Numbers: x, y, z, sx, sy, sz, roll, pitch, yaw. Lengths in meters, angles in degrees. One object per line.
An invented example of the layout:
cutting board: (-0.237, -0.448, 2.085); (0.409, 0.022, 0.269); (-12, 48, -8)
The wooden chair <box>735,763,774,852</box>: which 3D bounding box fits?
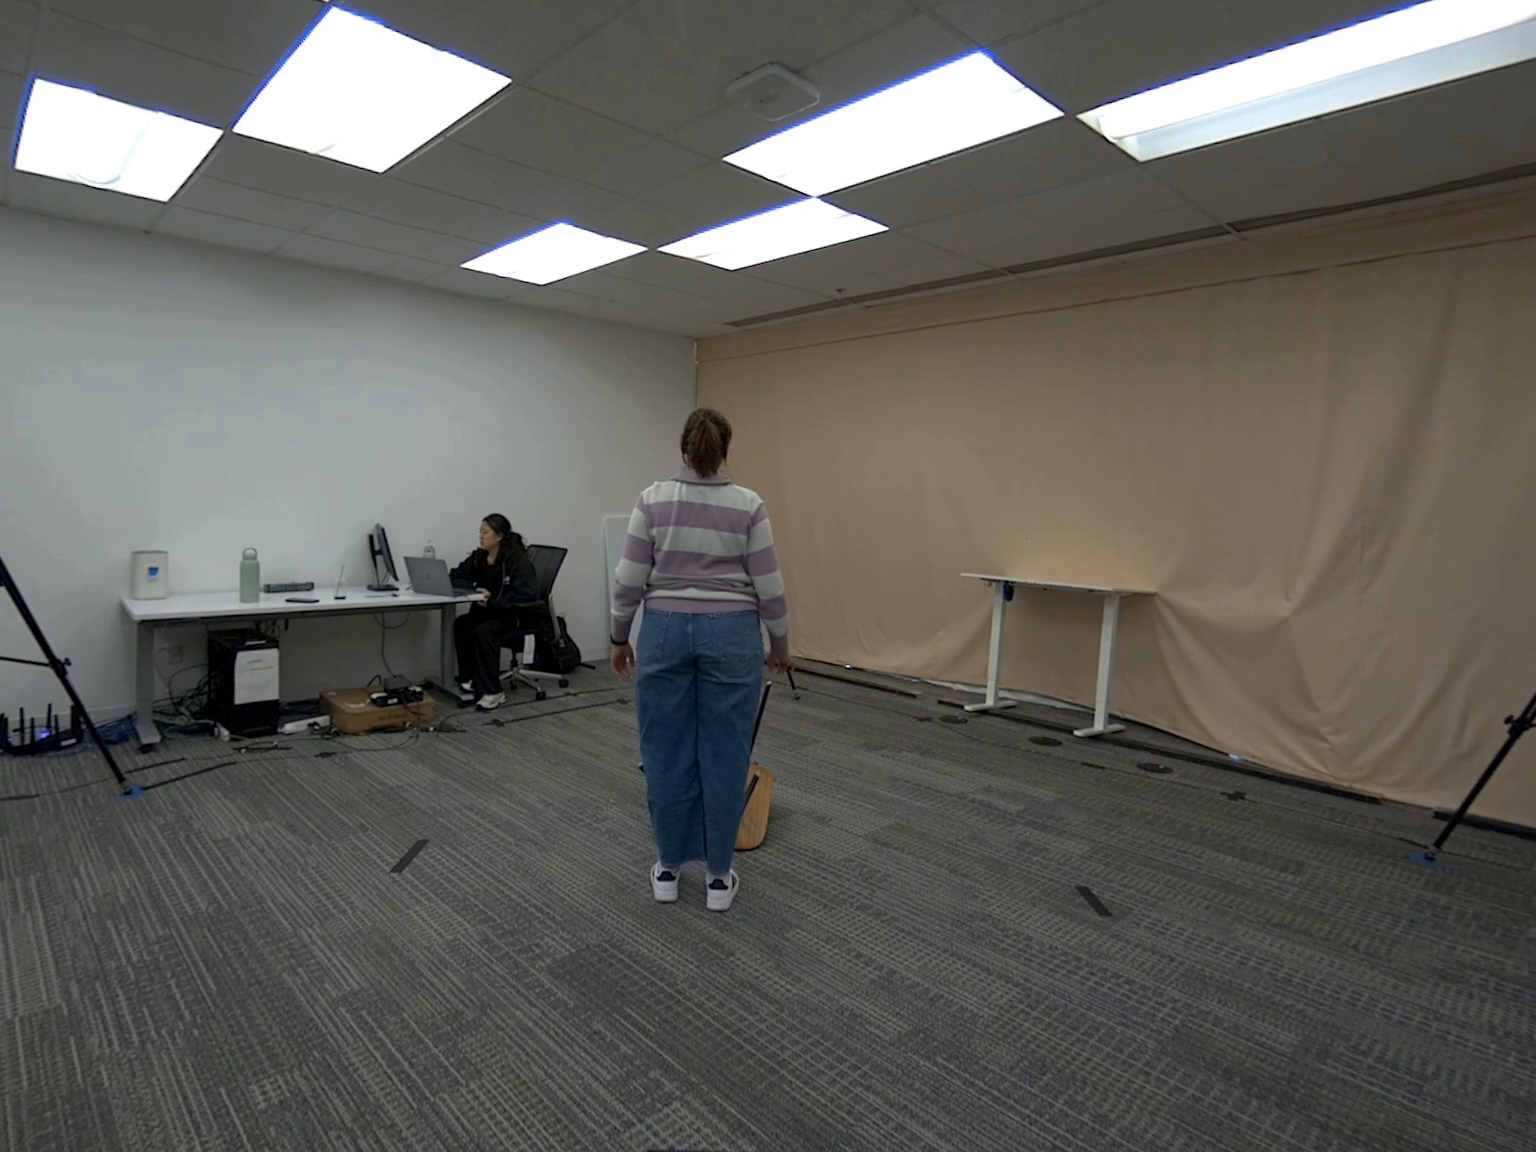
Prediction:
wooden chair: (-0.232, 0.898, 3.511); (0.481, 0.857, 0.532); (3, 44, 6)
